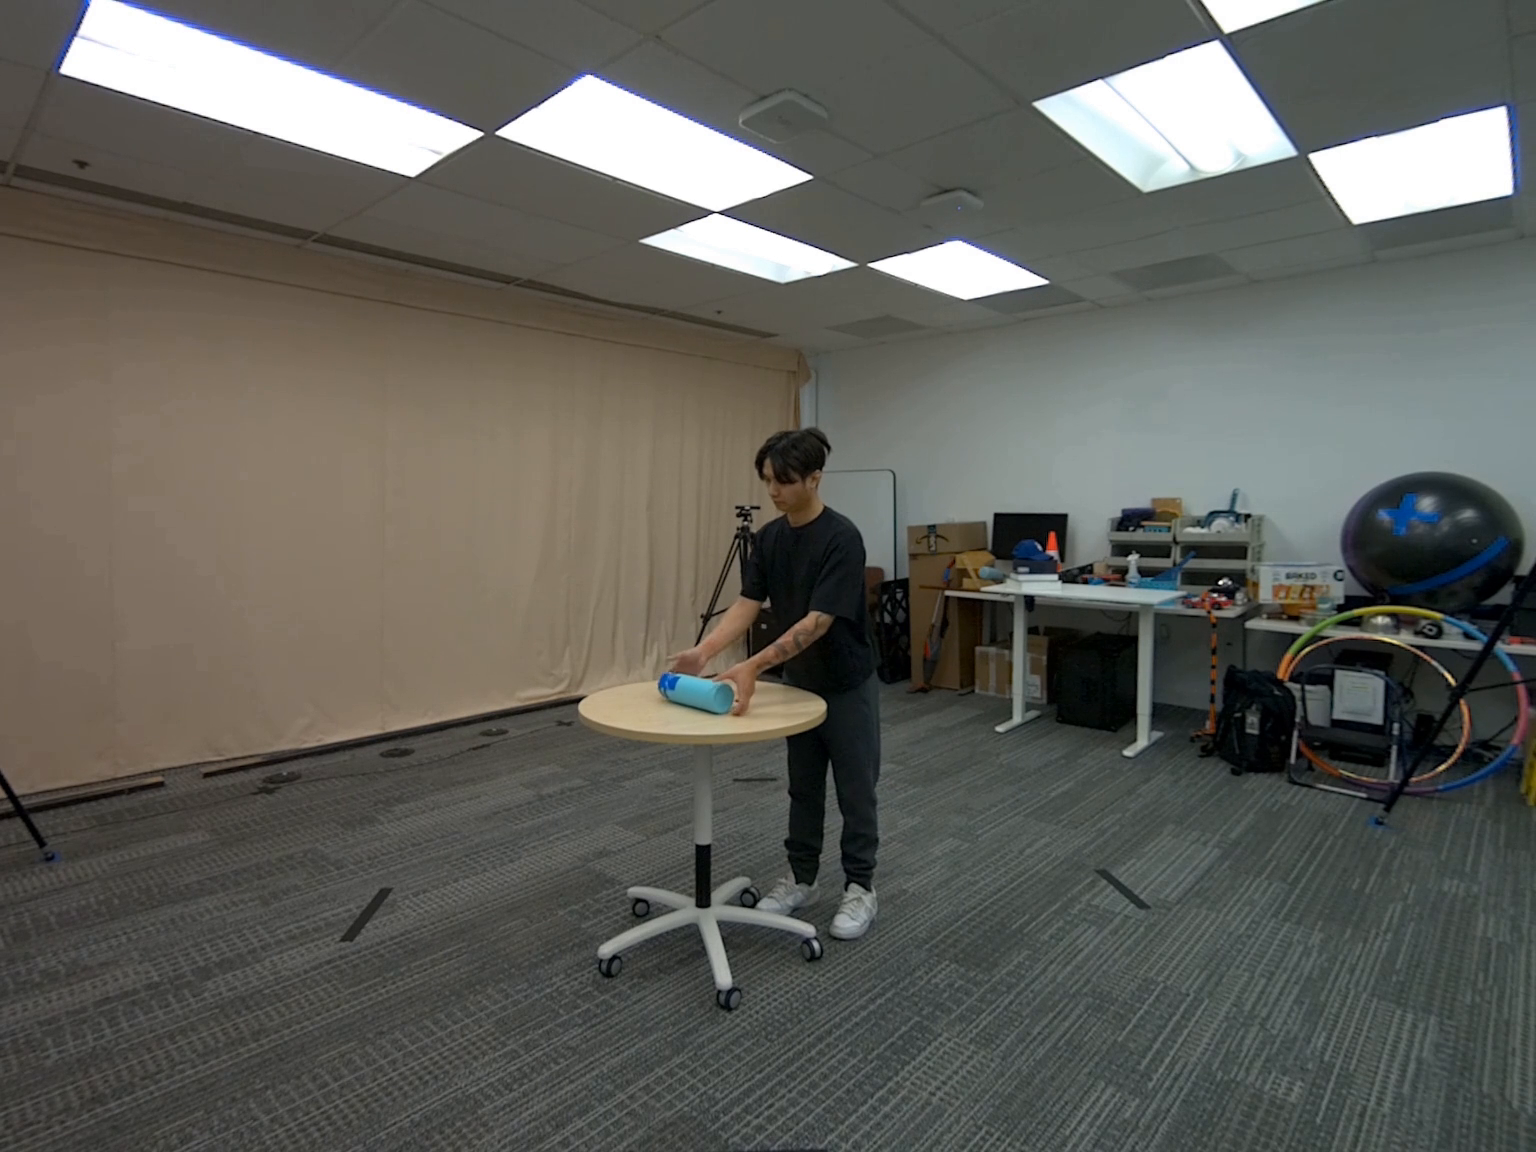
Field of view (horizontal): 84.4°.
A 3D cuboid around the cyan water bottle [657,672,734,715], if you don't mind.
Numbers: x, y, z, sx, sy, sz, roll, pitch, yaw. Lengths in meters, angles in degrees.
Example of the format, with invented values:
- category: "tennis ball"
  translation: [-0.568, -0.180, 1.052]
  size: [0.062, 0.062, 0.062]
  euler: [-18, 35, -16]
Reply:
- category: "cyan water bottle"
  translation: [-0.223, 0.355, 2.563]
  size: [0.089, 0.092, 0.293]
  euler: [-4, 5, -44]
